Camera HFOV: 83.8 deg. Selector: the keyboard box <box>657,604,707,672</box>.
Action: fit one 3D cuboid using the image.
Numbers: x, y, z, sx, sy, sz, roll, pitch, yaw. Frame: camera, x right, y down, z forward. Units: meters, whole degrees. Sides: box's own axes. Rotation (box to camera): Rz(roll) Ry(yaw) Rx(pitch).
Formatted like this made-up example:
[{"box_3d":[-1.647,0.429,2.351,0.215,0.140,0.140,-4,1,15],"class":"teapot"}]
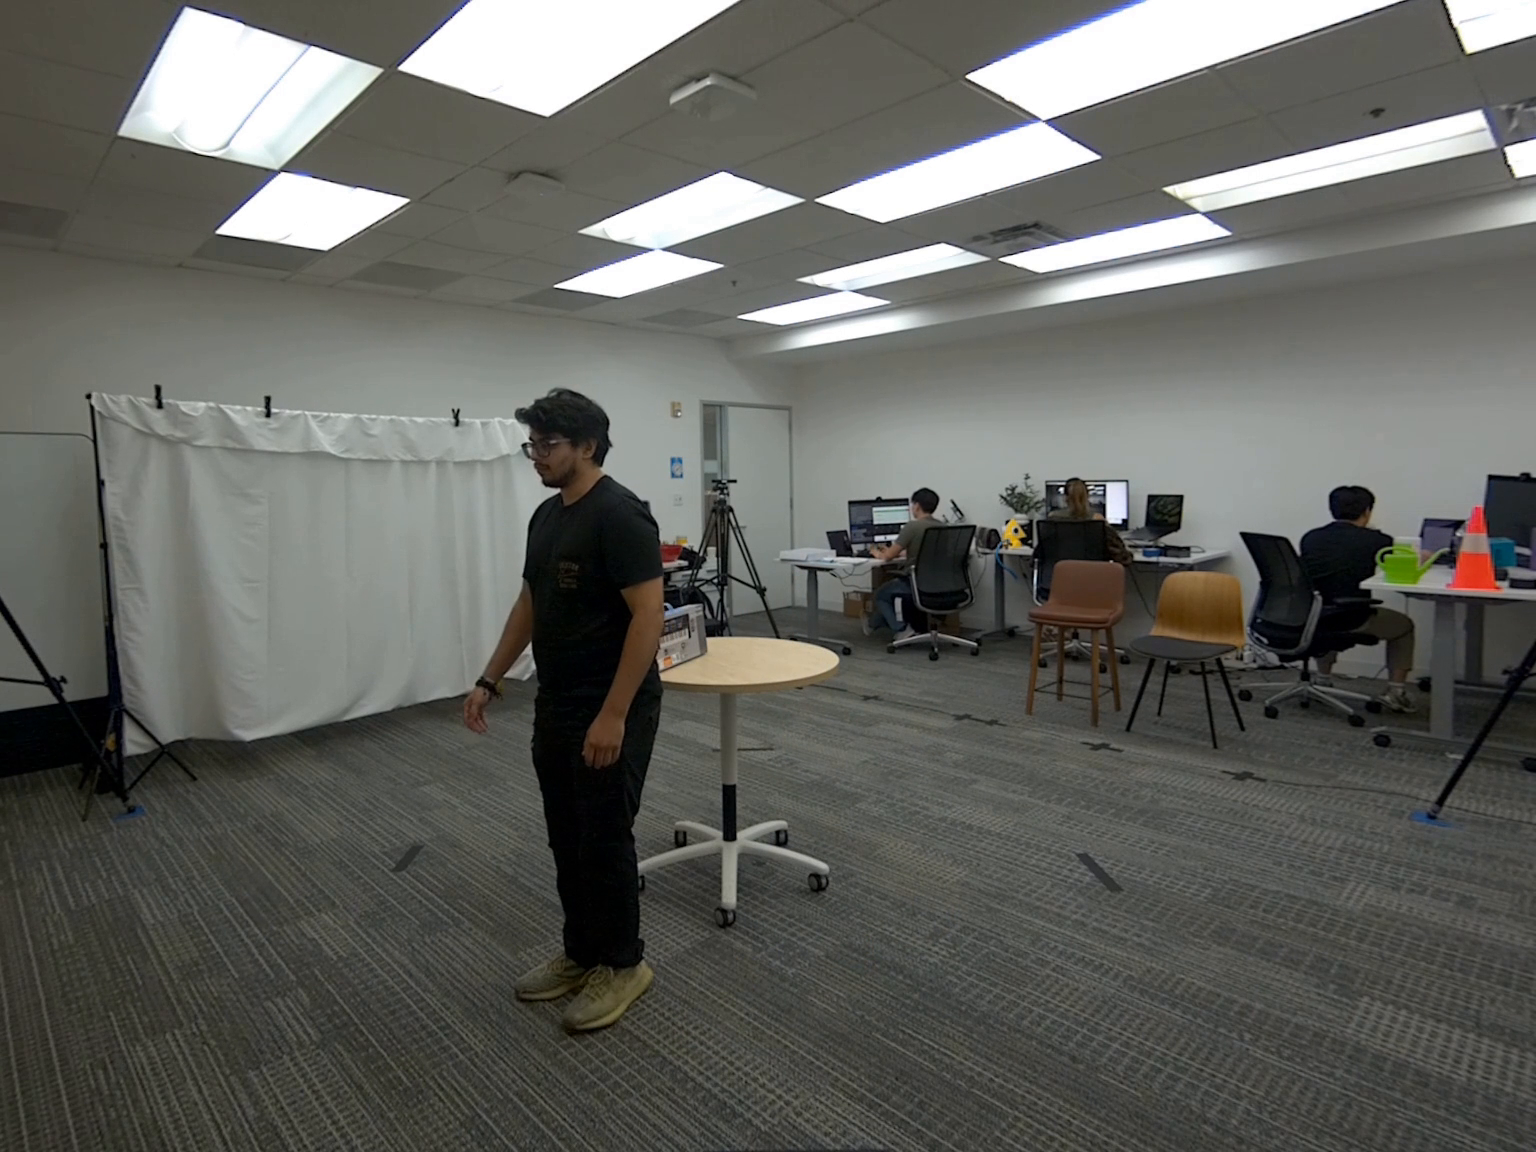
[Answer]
[{"box_3d":[-0.333,0.213,2.836,0.060,0.176,0.429,-6,3,25],"class":"keyboard box"}]
